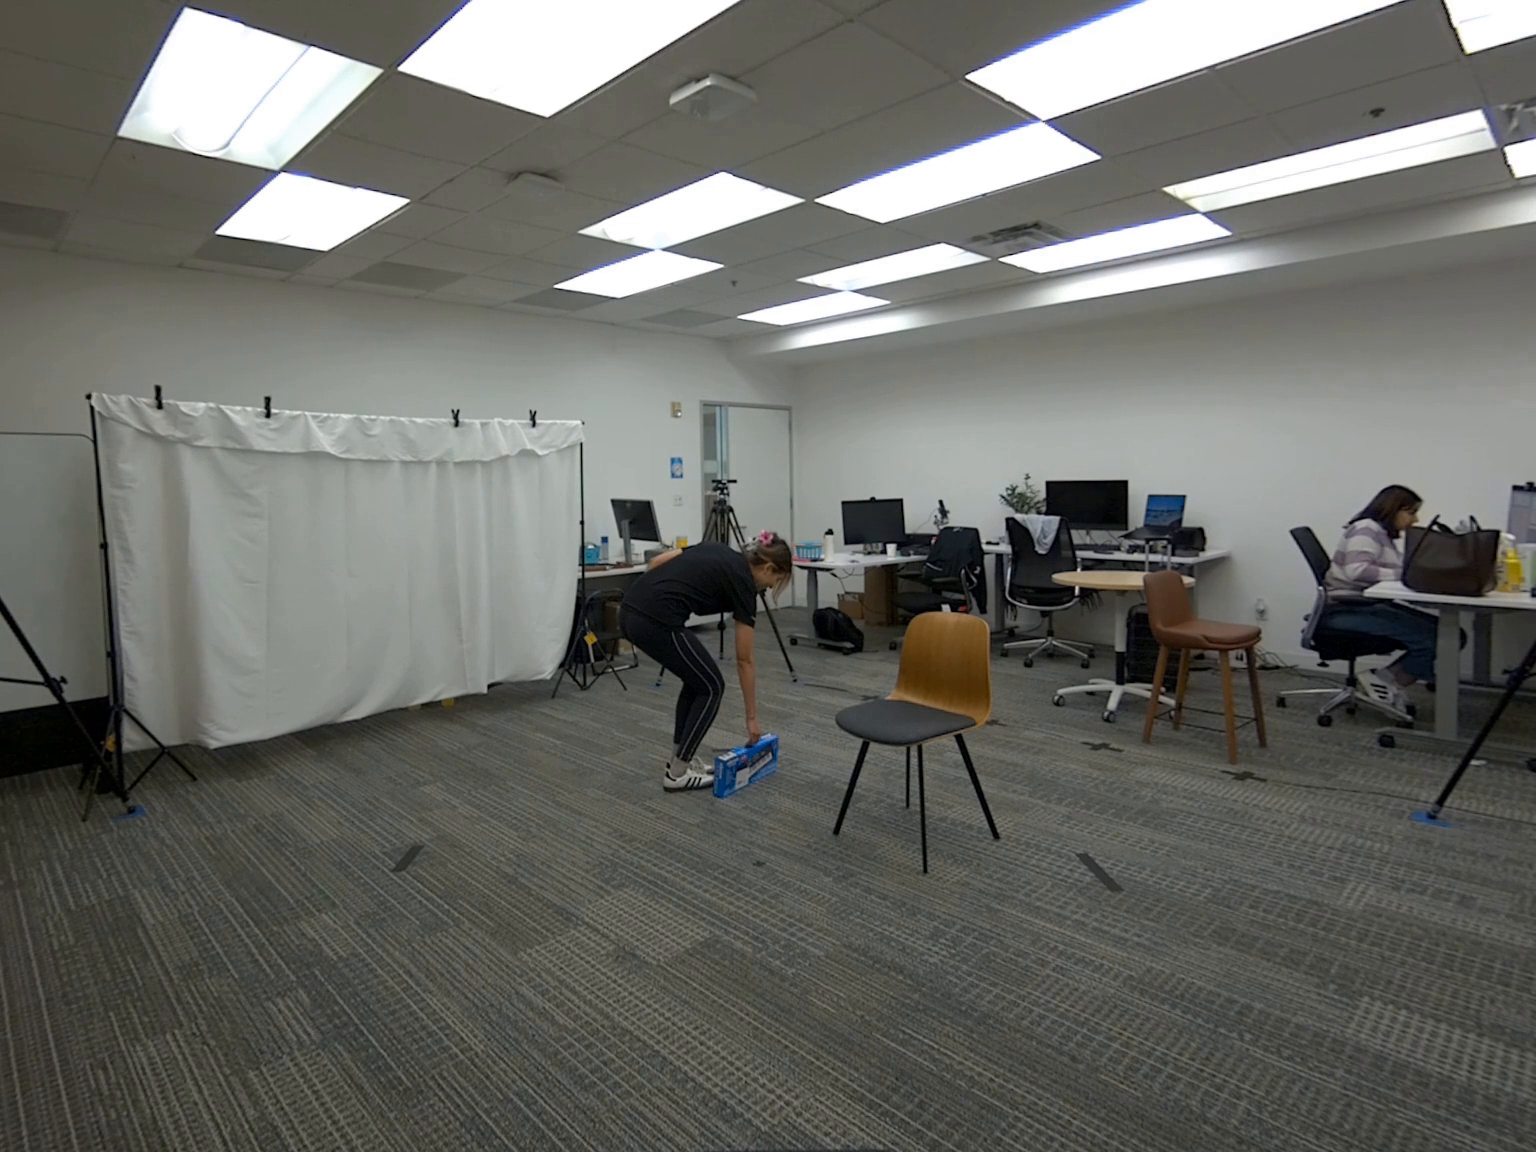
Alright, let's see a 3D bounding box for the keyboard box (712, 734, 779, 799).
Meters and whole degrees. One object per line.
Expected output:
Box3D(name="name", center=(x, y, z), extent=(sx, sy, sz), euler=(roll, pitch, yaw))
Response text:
Box3D(name="keyboard box", center=(-0.096, 0.870, 3.939), extent=(0.061, 0.175, 0.427), euler=(8, 10, 33))
